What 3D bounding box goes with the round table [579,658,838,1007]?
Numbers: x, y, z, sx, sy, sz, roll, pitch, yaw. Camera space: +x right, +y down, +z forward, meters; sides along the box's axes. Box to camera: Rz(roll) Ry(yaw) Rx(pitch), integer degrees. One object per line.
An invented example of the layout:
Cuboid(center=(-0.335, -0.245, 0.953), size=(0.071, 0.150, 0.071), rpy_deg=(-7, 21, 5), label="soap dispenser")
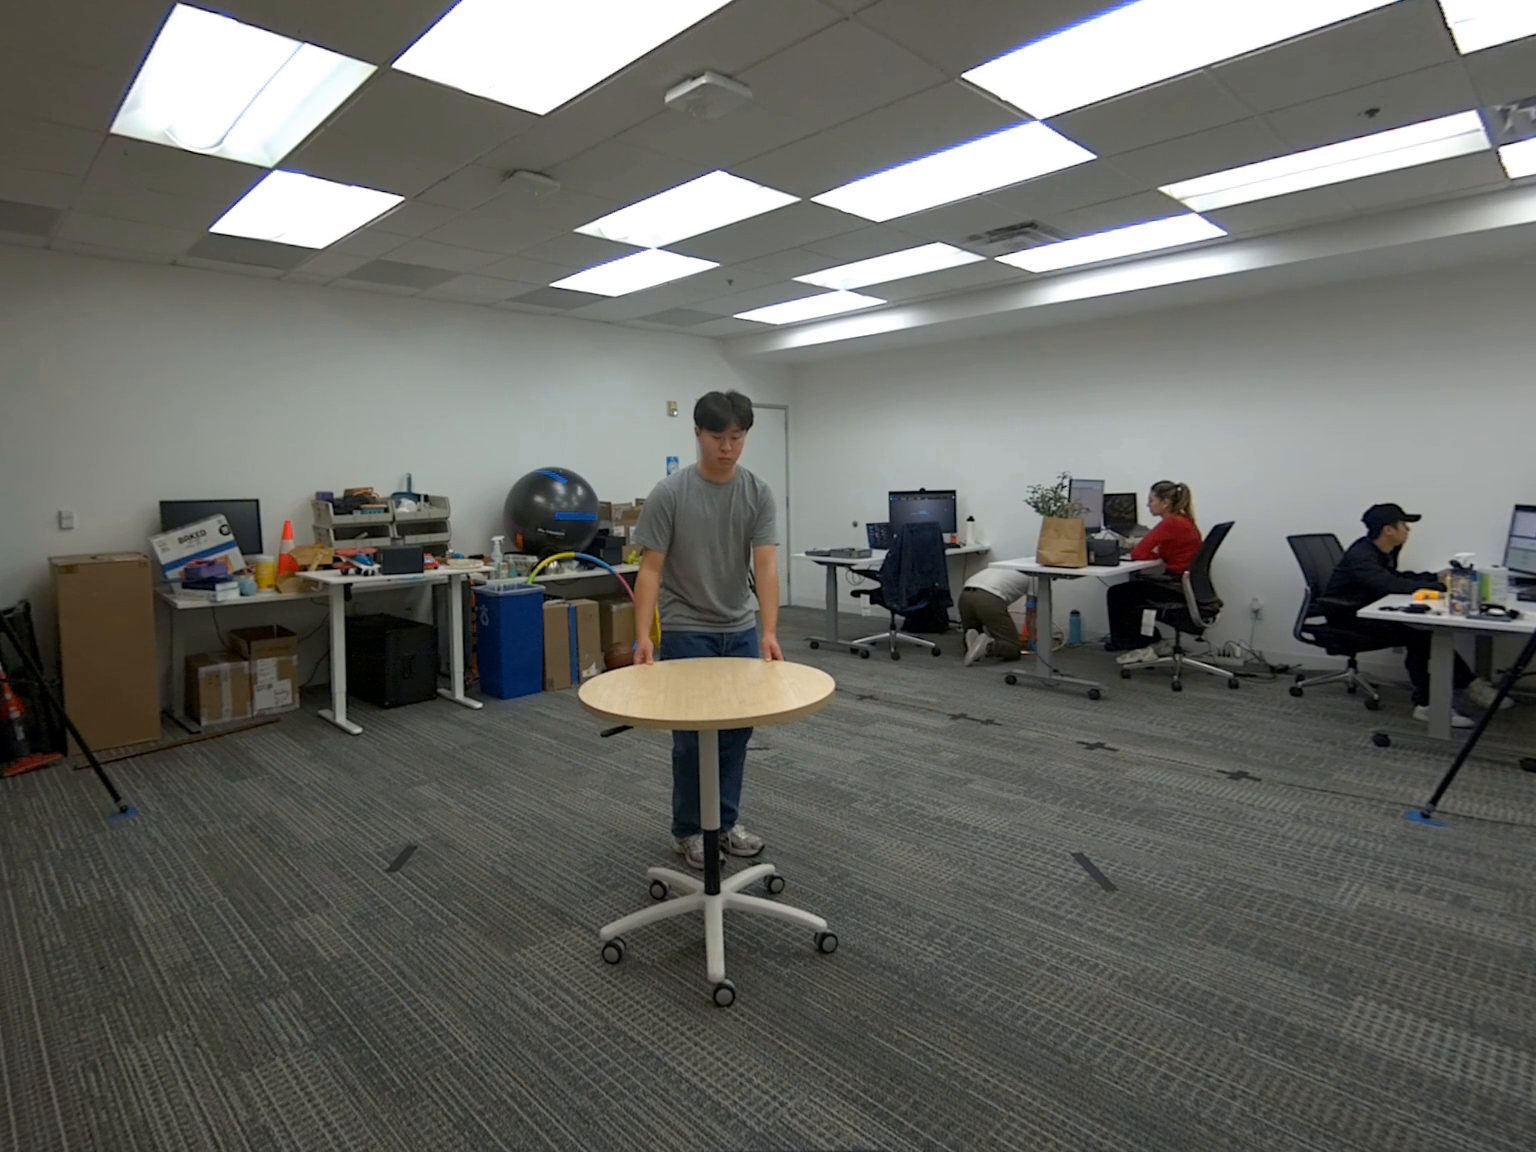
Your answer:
Cuboid(center=(-0.167, 0.720, 2.594), size=(0.763, 0.791, 0.768), rpy_deg=(-2, 5, -2), label="round table")
